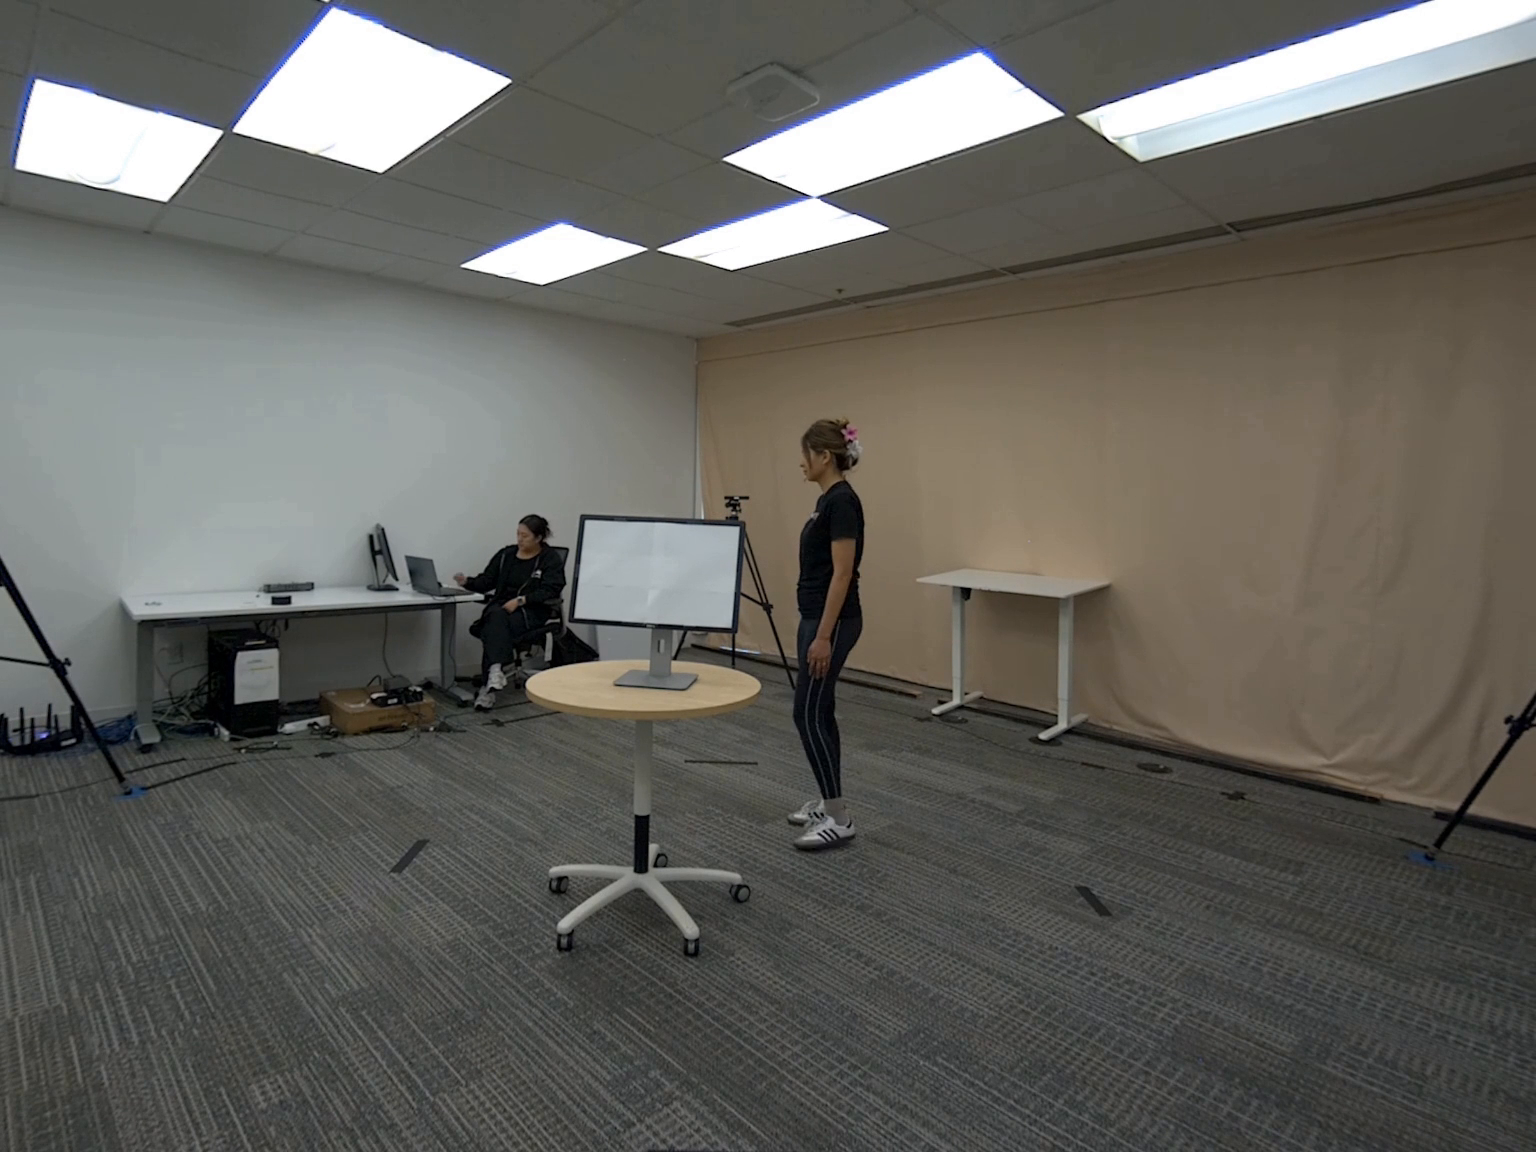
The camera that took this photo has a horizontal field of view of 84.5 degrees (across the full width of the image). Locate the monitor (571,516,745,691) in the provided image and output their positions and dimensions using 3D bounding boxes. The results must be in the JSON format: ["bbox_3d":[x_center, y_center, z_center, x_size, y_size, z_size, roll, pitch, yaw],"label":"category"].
[{"bbox_3d":[-0.360,0.088,2.765,0.543,0.521,0.186,3,3,8],"label":"monitor"}]
